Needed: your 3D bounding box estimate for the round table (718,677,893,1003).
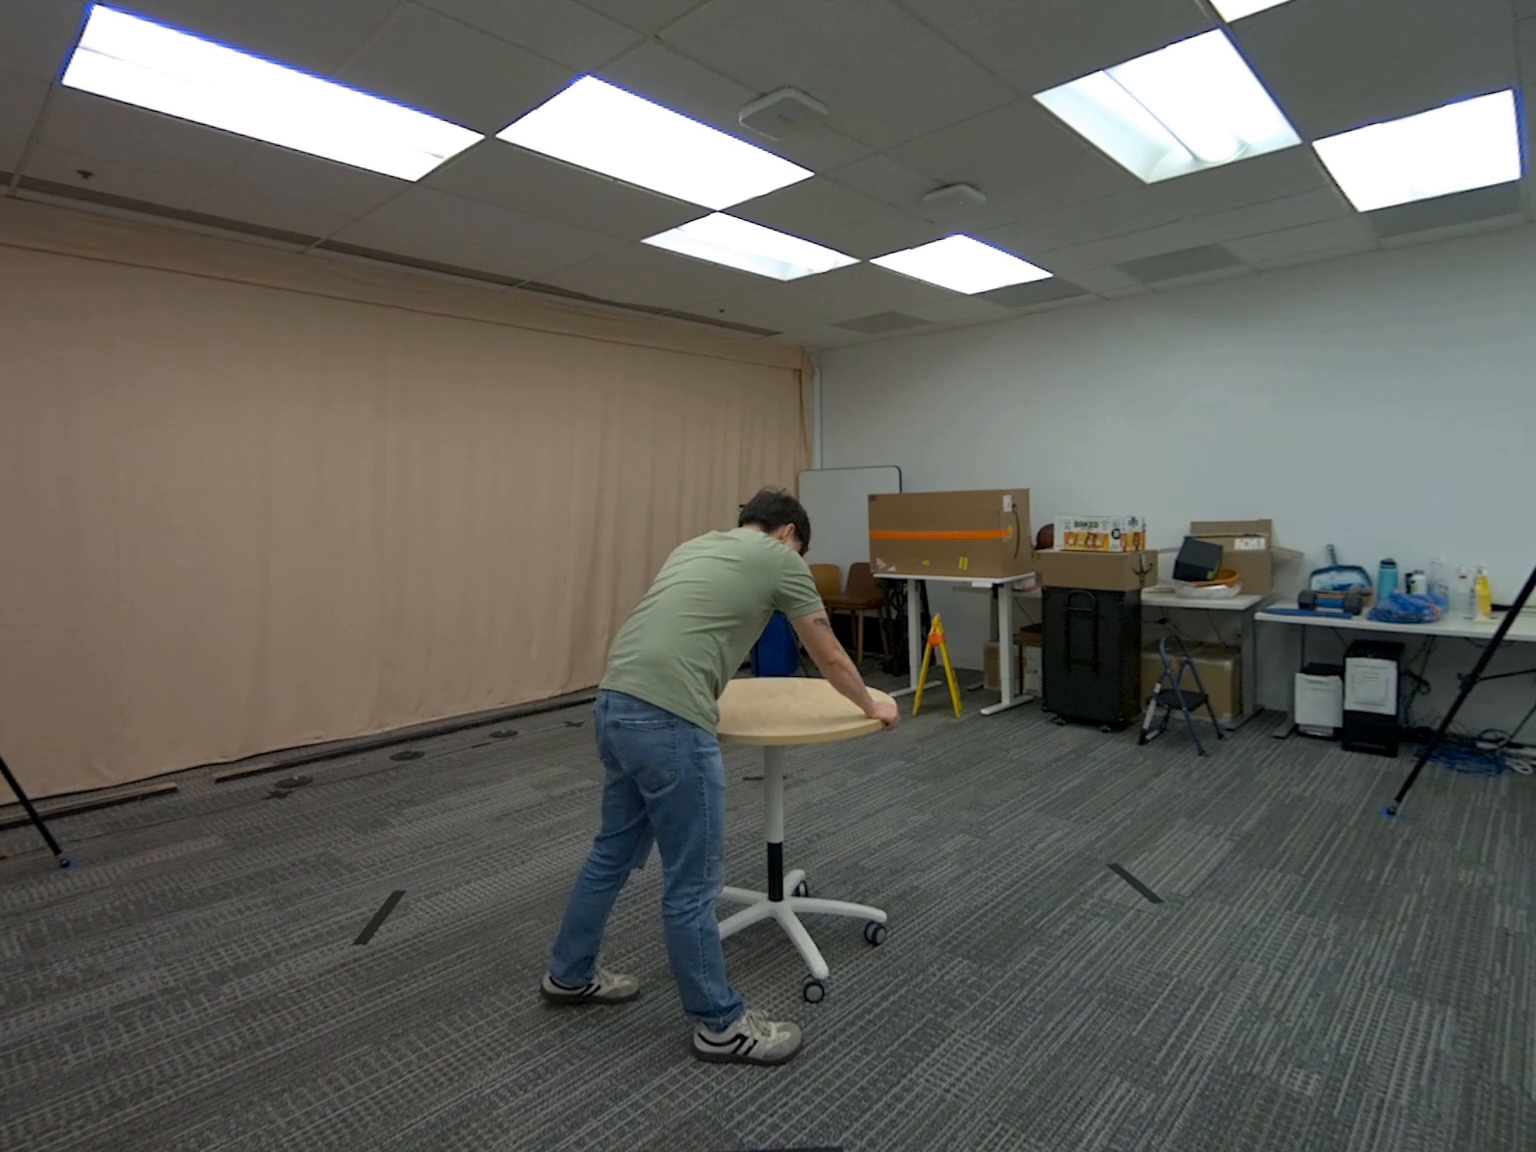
[{"bbox_3d":[0.026,0.784,2.662,0.763,0.792,0.767,-1,4,-2],"label":"round table"}]
